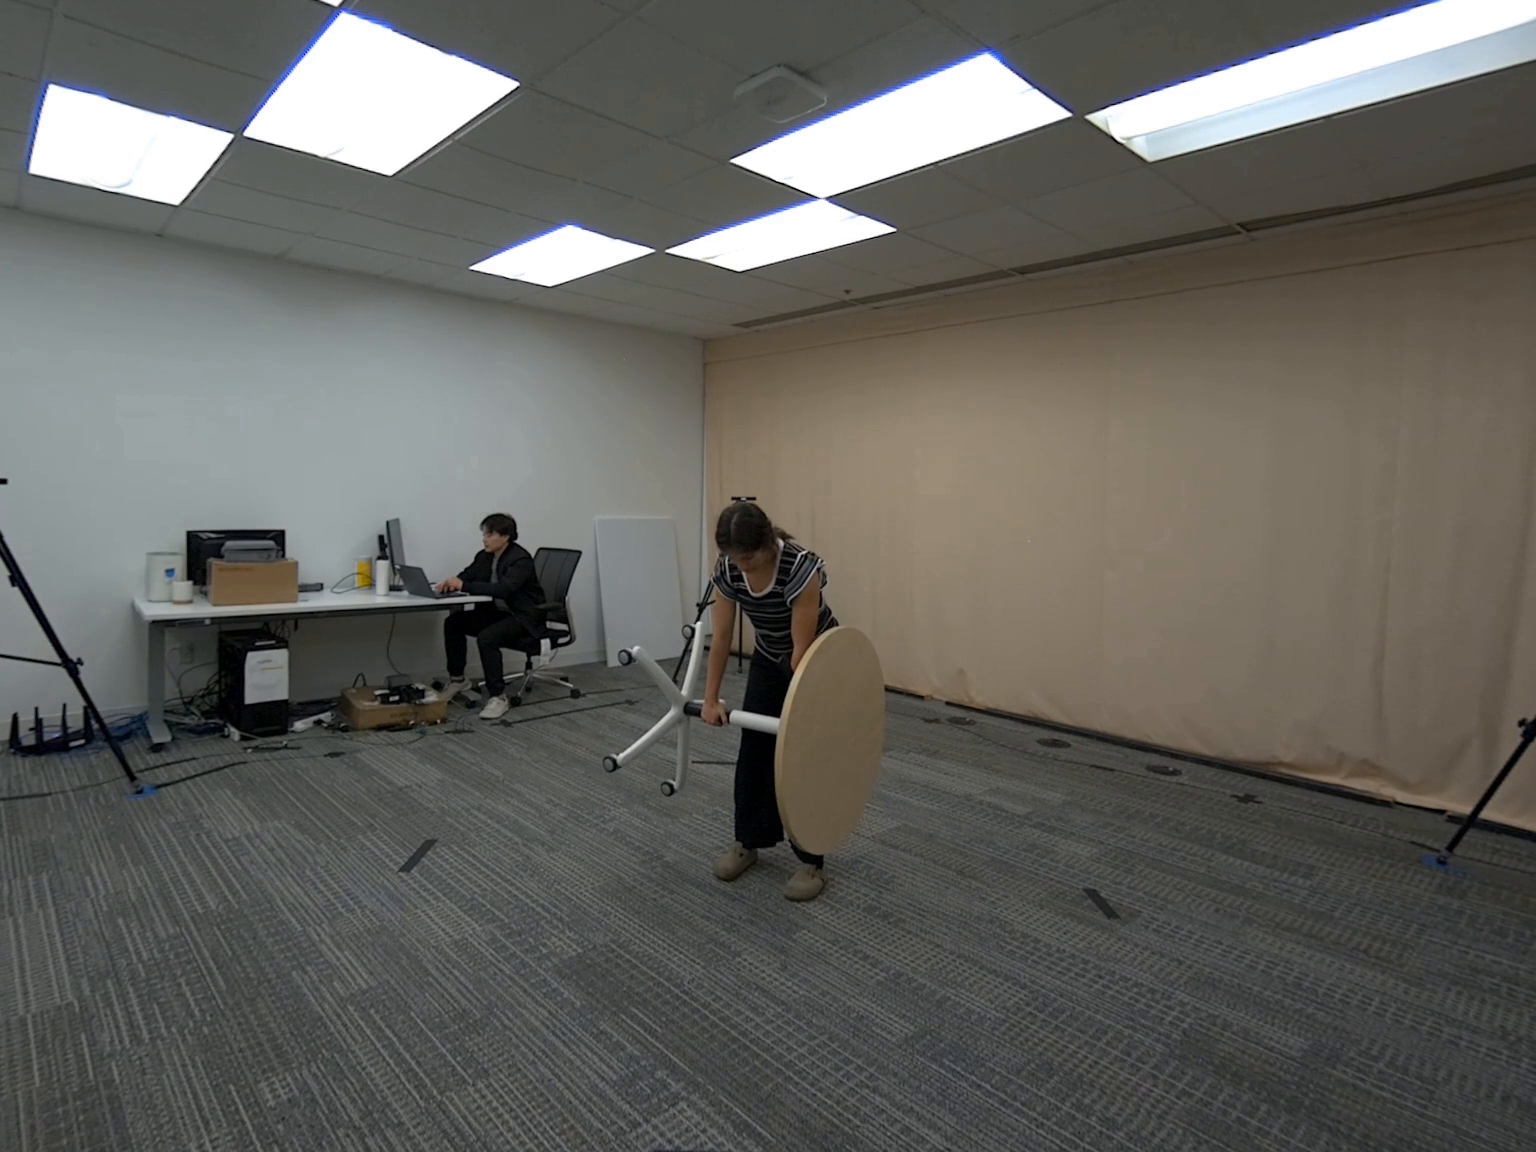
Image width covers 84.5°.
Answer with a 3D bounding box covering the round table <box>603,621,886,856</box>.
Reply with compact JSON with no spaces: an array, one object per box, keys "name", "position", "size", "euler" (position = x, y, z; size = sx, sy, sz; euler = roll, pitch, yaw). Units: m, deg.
[{"name":"round table","position":[-0.101,0.539,3.100],"size":[0.812,0.762,0.748],"euler":[4,5,33]}]
